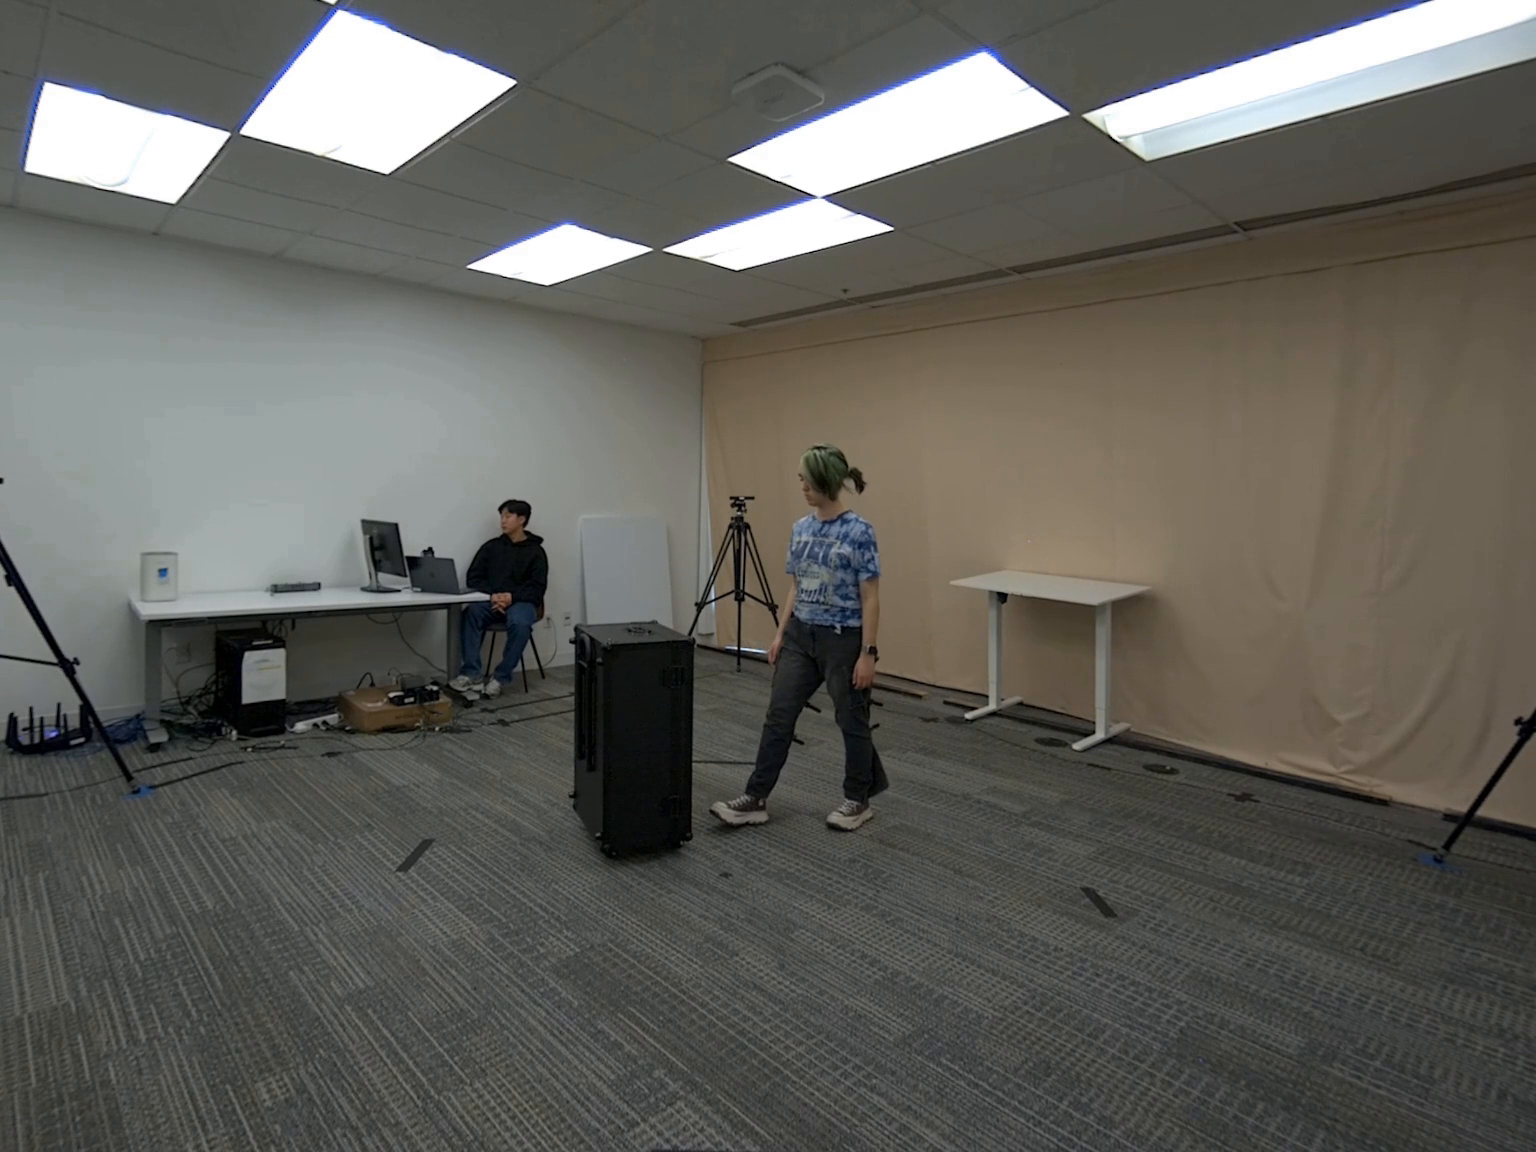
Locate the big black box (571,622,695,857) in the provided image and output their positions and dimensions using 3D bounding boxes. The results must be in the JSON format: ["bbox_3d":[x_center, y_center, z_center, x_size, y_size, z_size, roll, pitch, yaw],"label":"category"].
[{"bbox_3d":[-0.564,0.649,3.360,0.389,0.859,0.532,-2,4,-25],"label":"big black box"}]
